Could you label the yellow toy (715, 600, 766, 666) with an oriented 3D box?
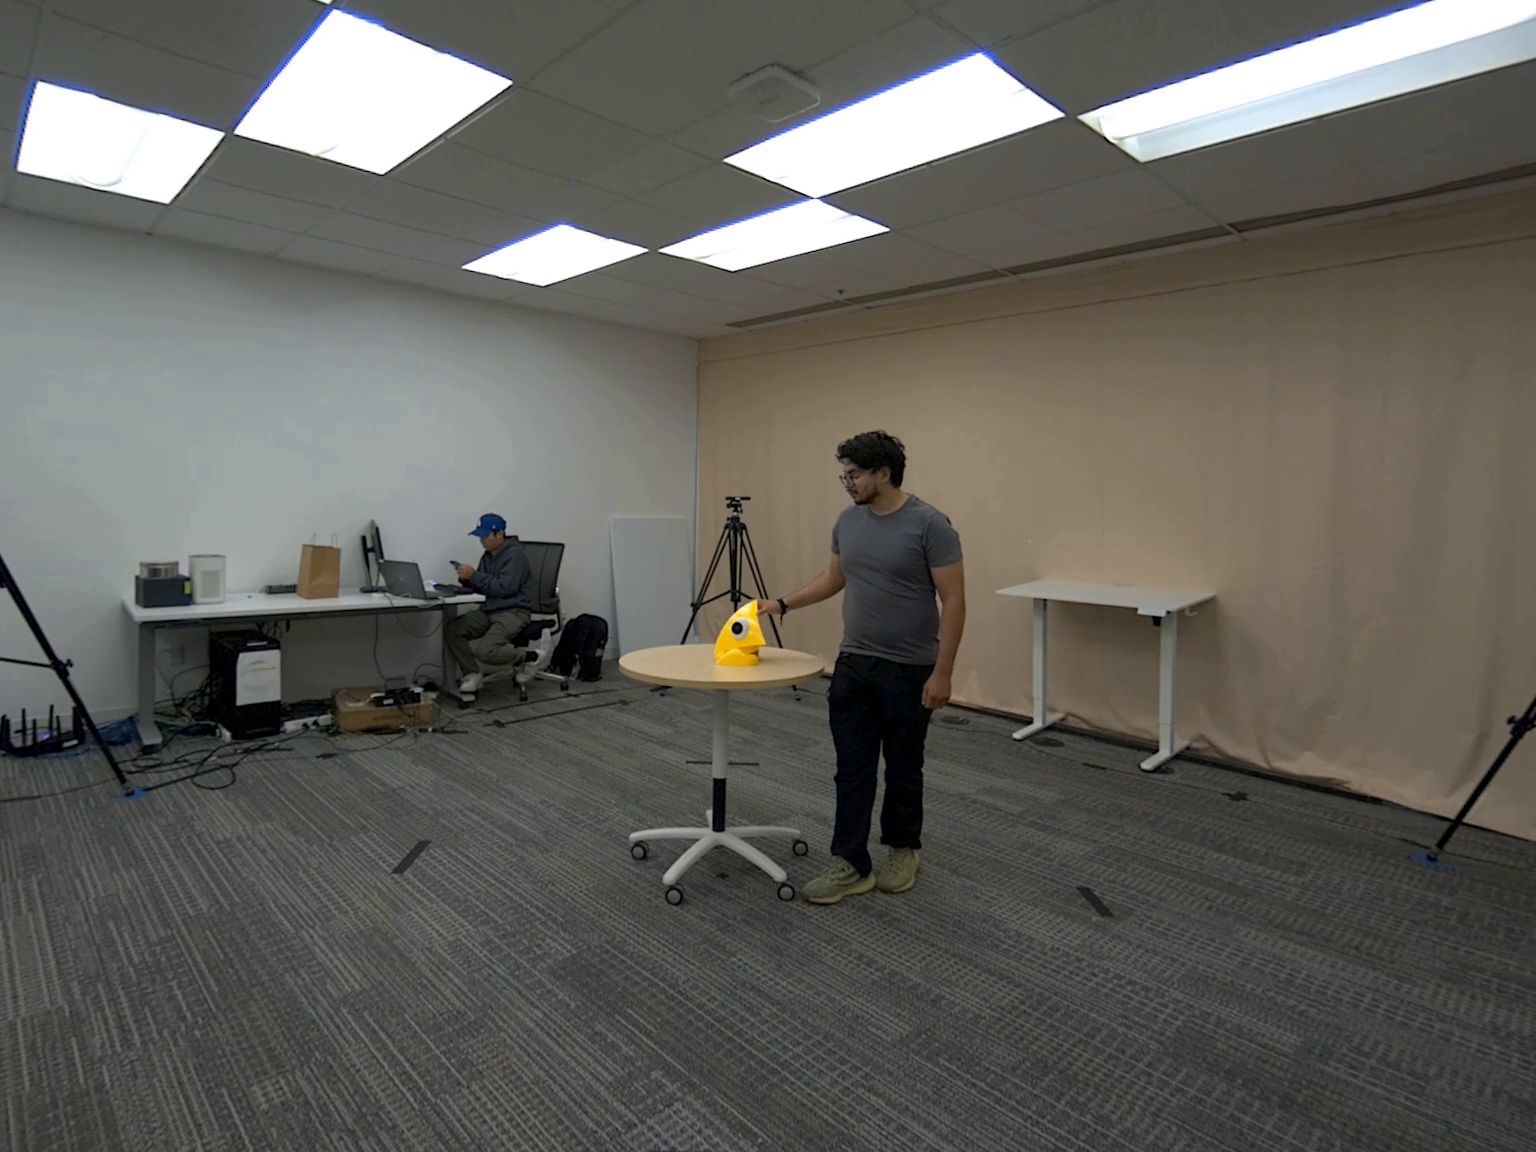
[{"bbox_3d":[-0.110,0.202,3.153,0.193,0.230,0.205,0,4,-2],"label":"yellow toy"}]
